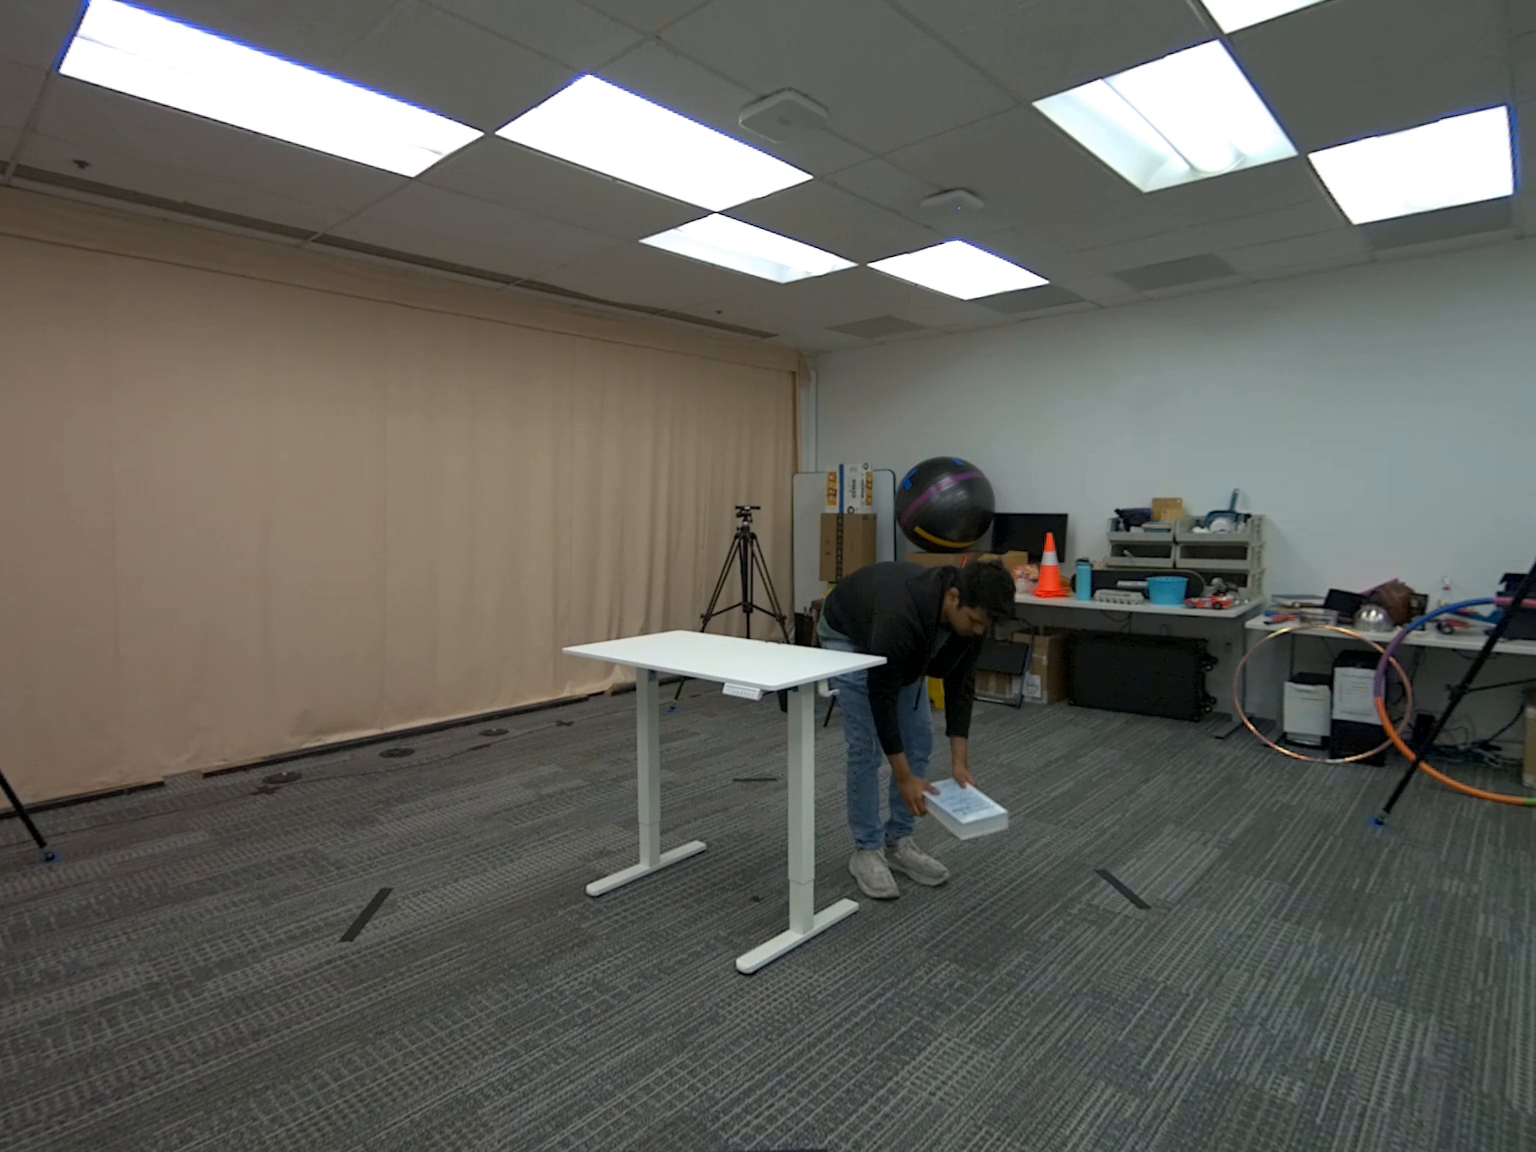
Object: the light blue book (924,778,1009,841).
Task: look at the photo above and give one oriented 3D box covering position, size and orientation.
[{"bbox_3d":[0.652,0.768,2.828,0.187,0.058,0.268,-7,14,-22],"label":"light blue book"}]
